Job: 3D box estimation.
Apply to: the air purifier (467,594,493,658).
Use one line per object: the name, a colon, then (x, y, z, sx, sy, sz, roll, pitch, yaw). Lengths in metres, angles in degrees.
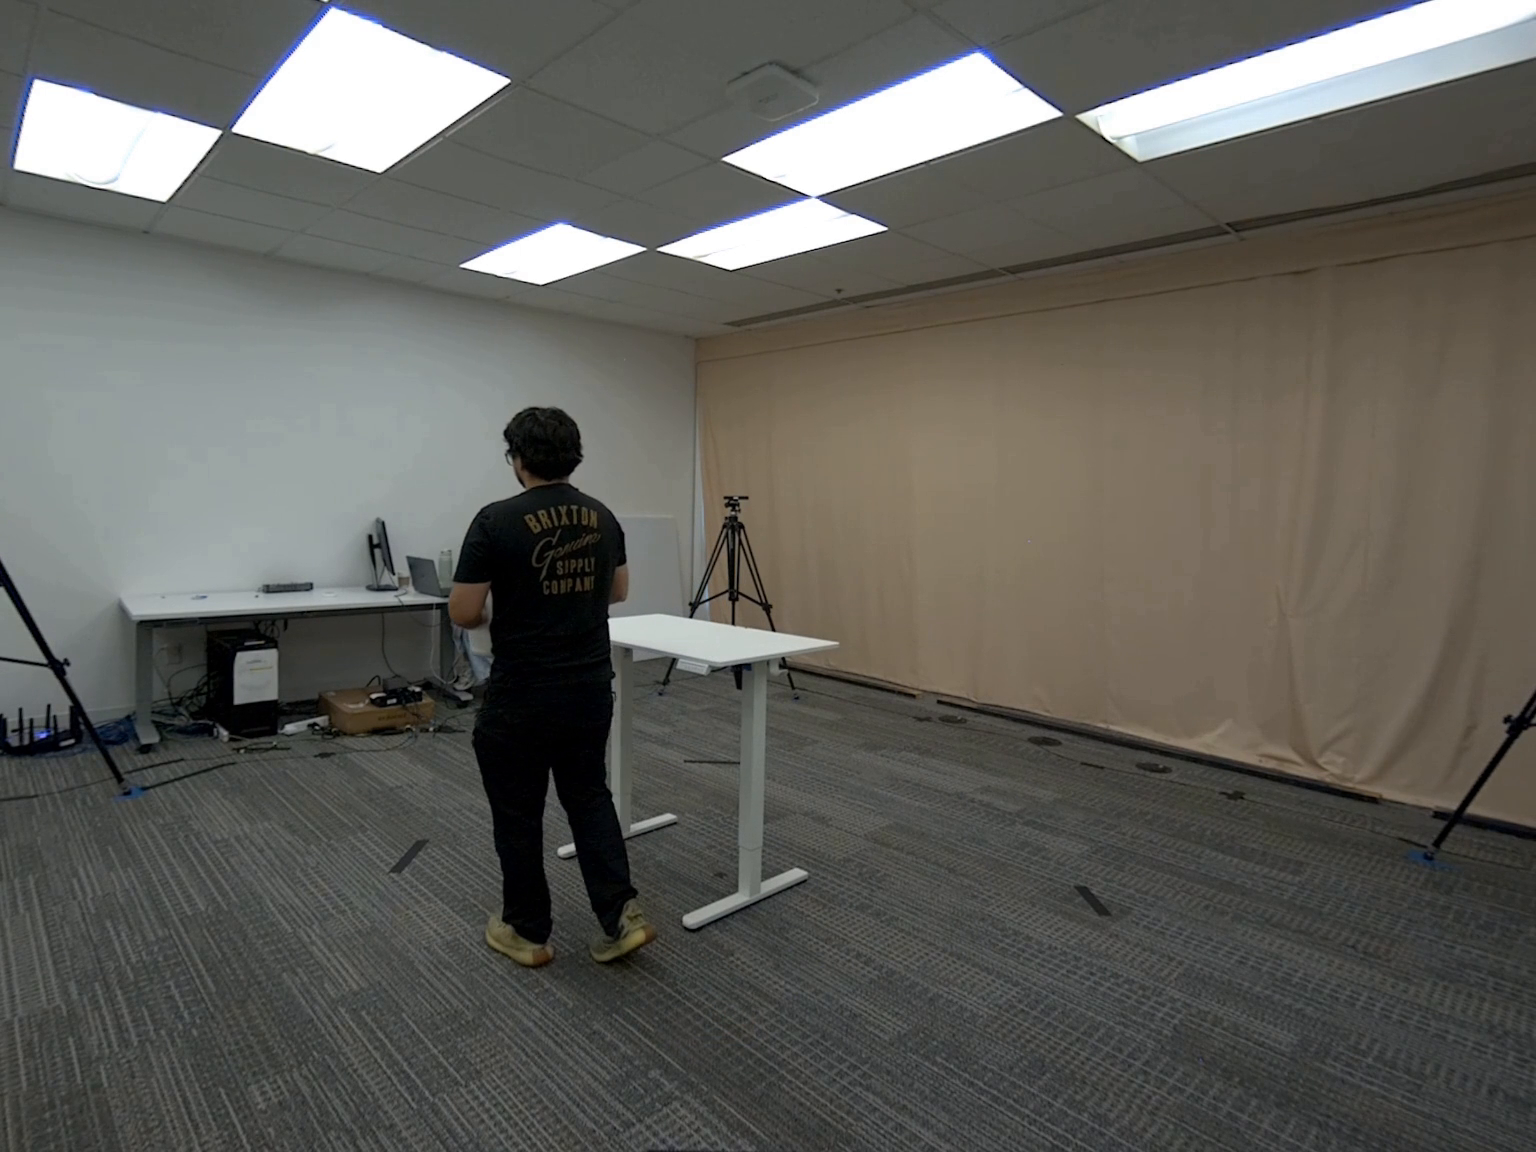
air purifier: (-0.853, 0.125, 2.706, 0.175, 0.265, 0.167, -4, 2, 44)
